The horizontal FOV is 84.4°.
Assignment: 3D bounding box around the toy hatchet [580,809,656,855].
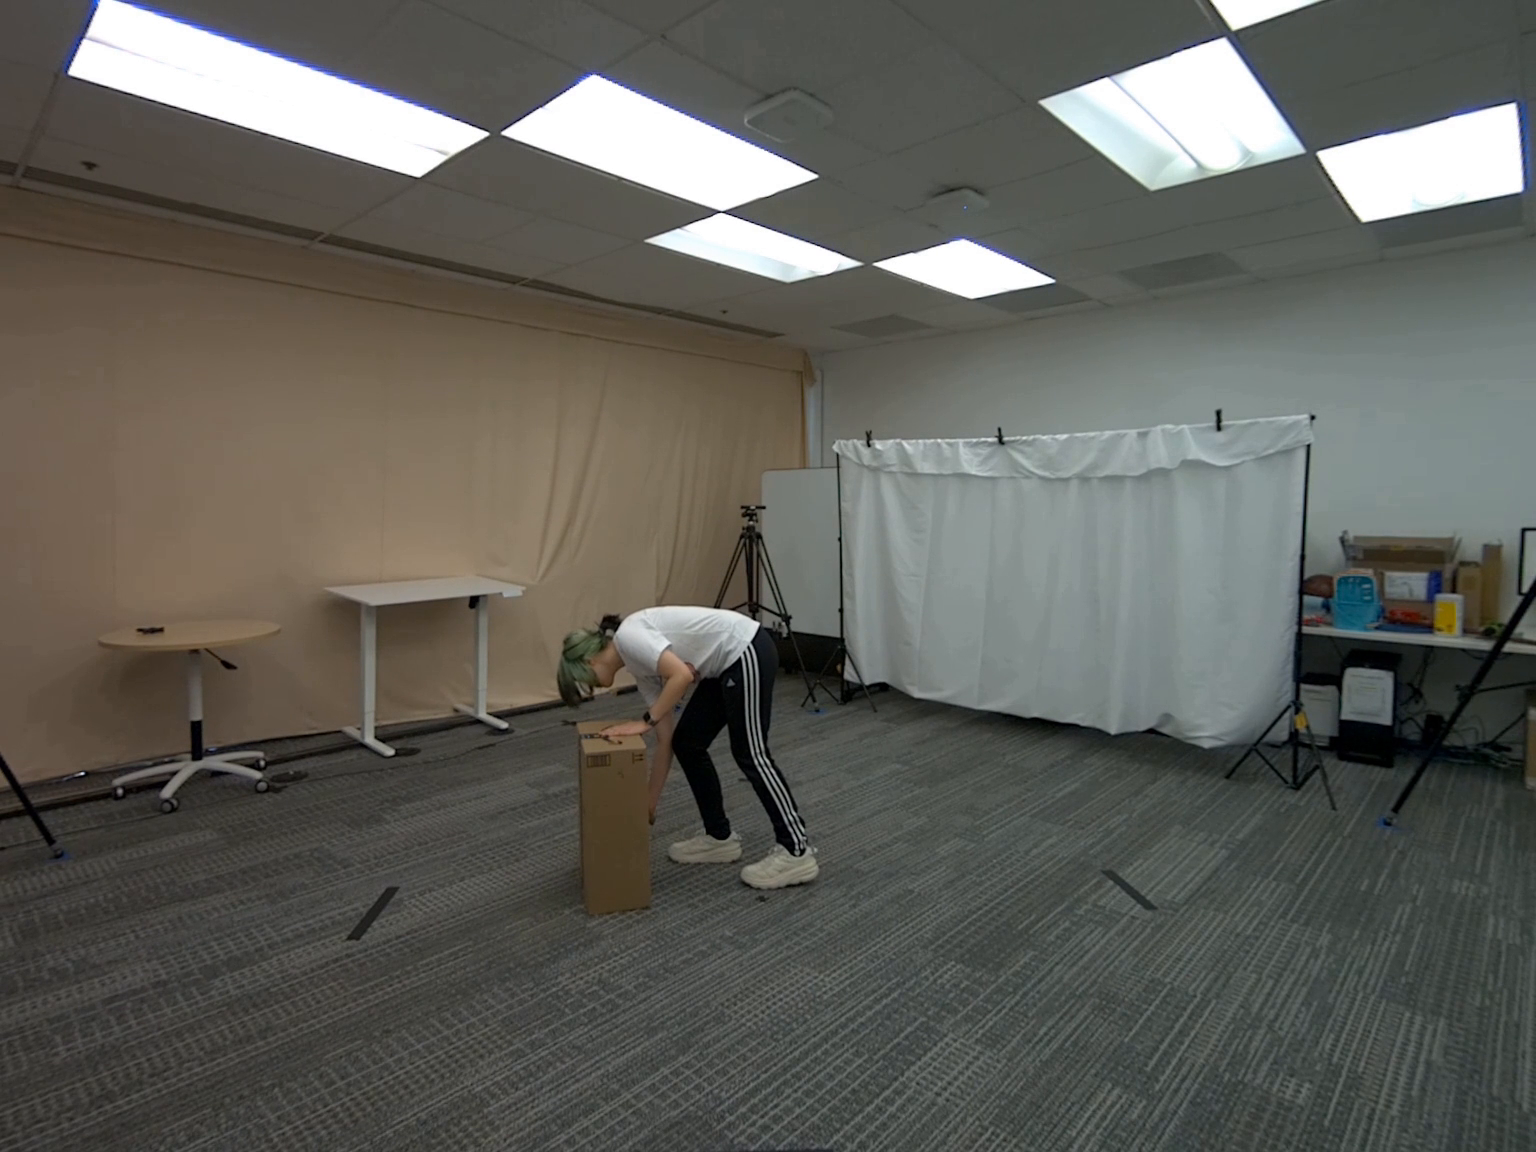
[{"bbox_3d":[-0.586,0.996,3.305,0.271,0.132,0.029,6,-26,2],"label":"toy hatchet"}]
